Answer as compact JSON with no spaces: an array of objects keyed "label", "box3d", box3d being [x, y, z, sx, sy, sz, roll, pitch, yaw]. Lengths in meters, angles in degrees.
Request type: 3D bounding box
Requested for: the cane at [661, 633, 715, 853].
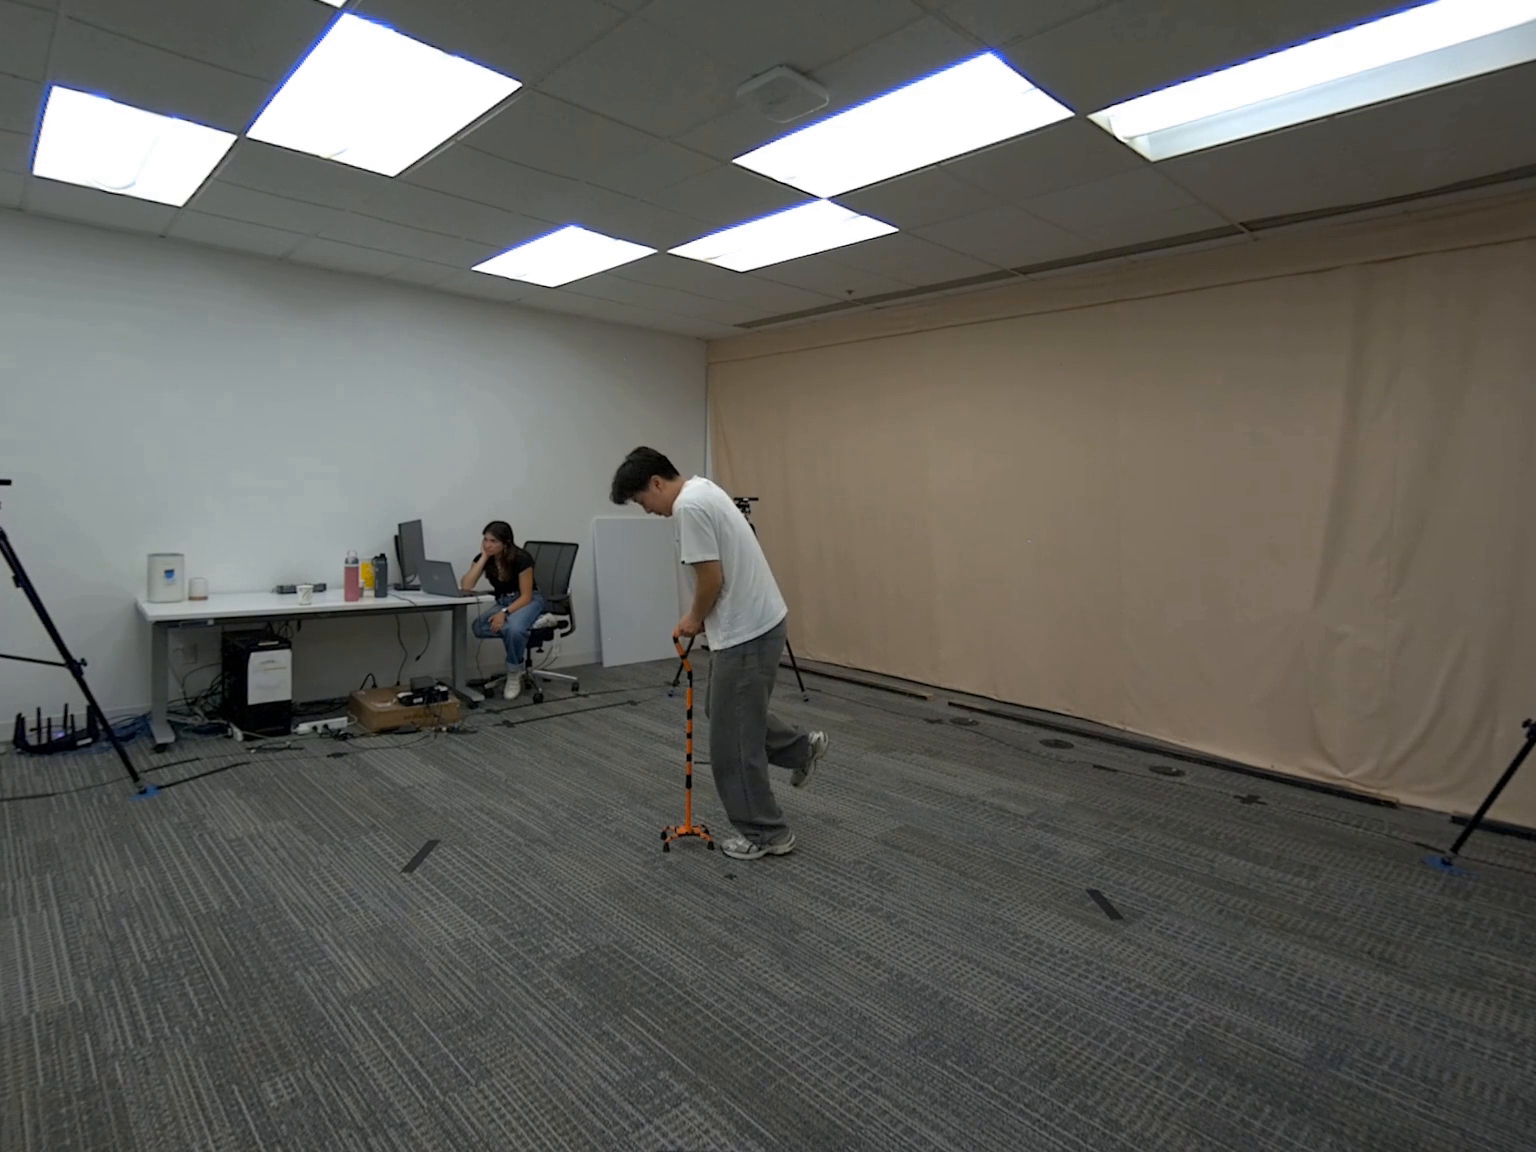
[{"label":"cane","box3d":[-0.323,0.627,3.372,0.204,0.906,0.153,1,3,-12]}]
